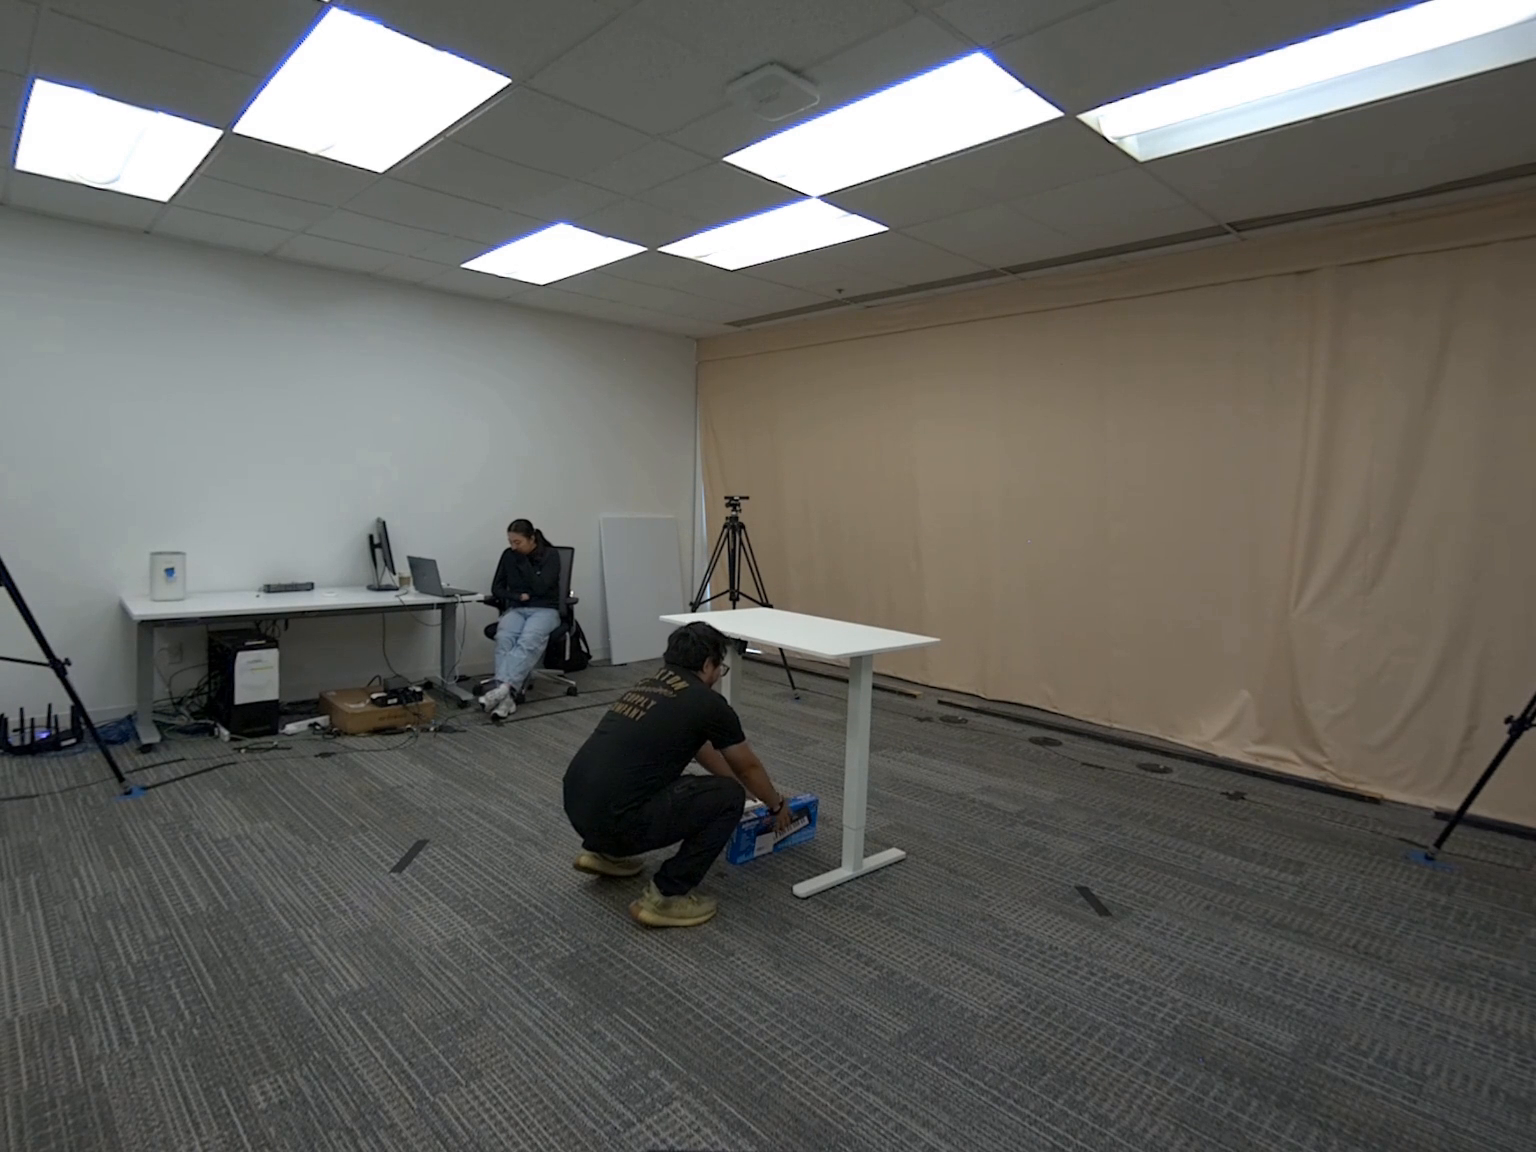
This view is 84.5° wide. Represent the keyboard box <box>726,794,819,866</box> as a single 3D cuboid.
[{"bbox_3d":[0.018,0.999,3.336,0.427,0.175,0.061,-3,12,-43],"label":"keyboard box"}]
